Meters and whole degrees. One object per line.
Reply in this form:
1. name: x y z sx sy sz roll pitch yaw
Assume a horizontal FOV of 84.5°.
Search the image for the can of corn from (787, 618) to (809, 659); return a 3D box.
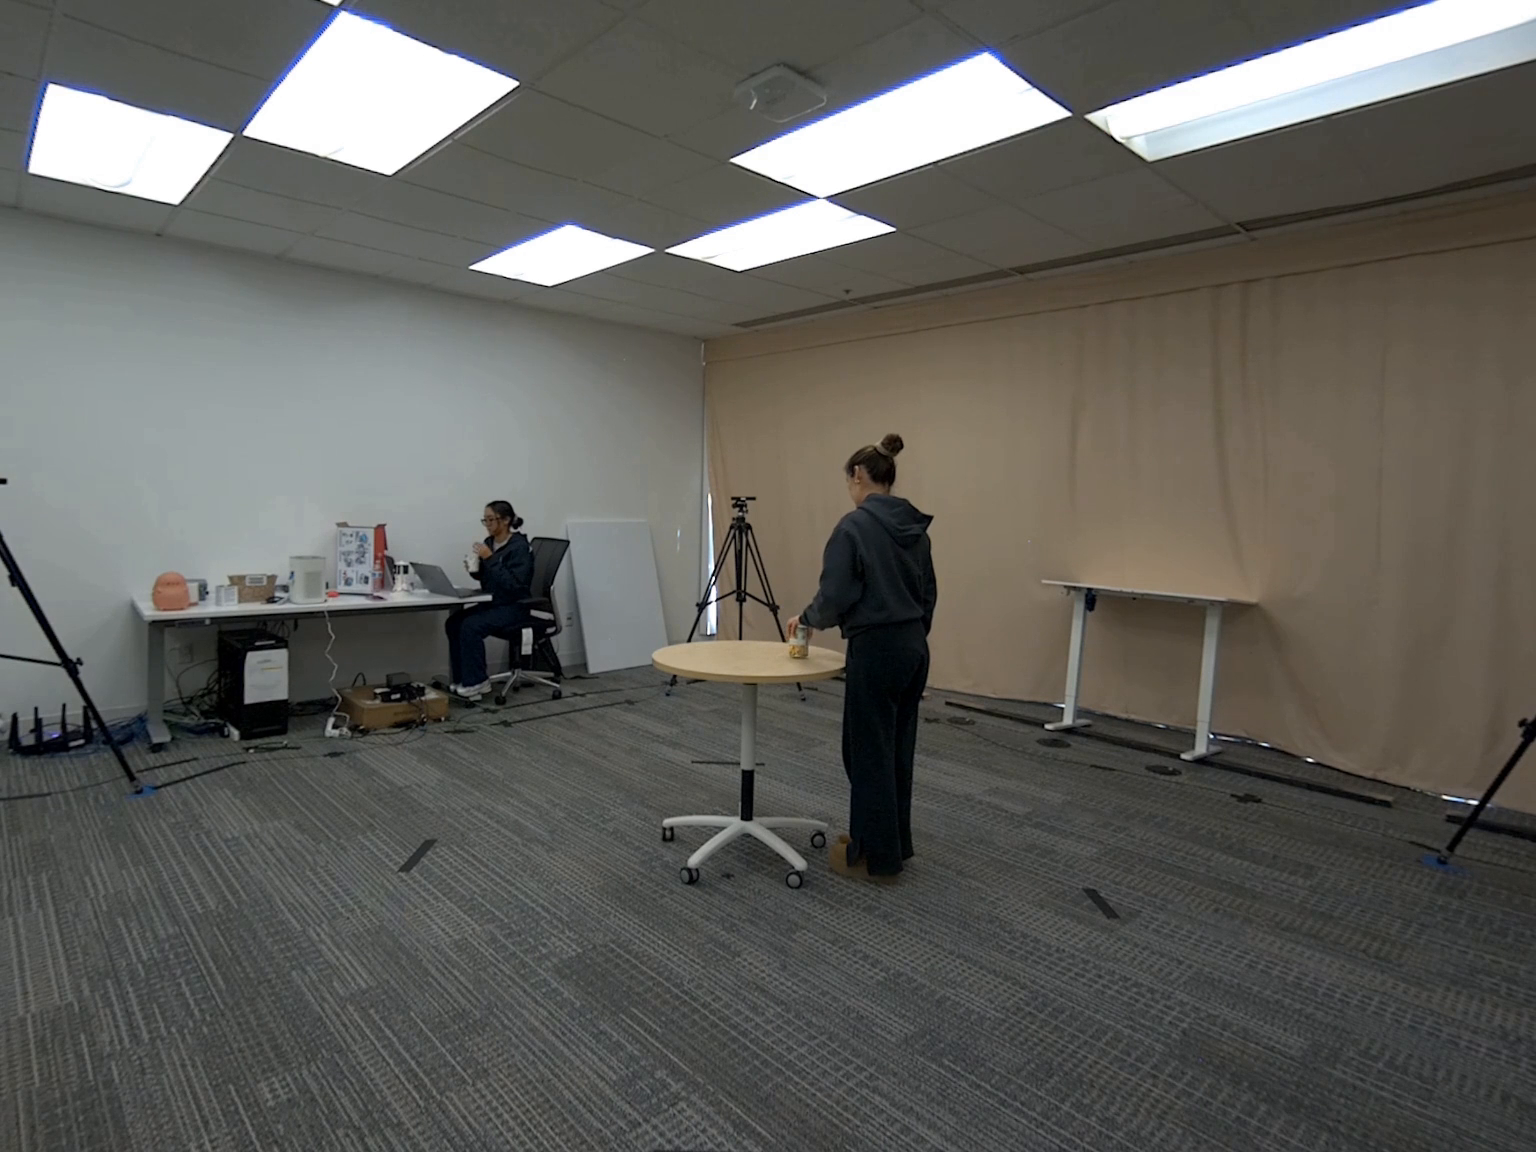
1. can of corn: 0.119 0.247 3.265 0.074 0.110 0.075 4 8 -2
